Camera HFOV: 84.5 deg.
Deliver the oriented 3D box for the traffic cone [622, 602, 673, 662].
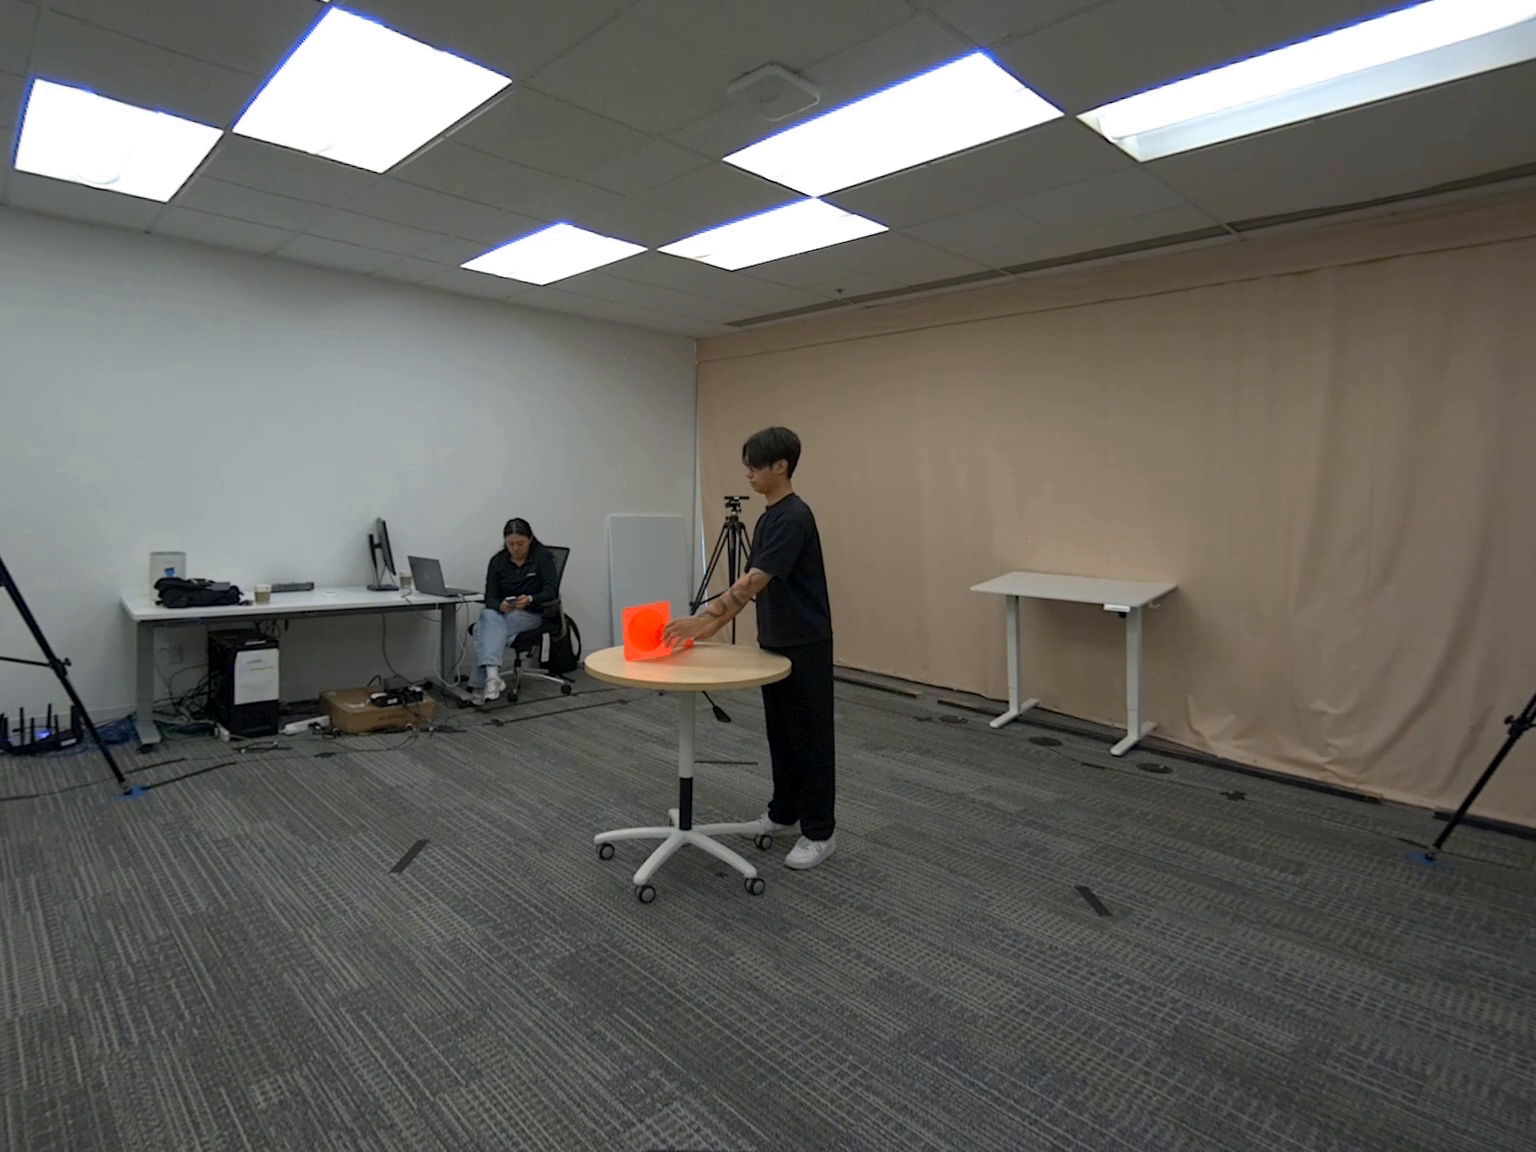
[{"bbox_3d":[-0.399,0.239,3.257,0.207,0.206,0.374,-12,-15,18],"label":"traffic cone"}]
